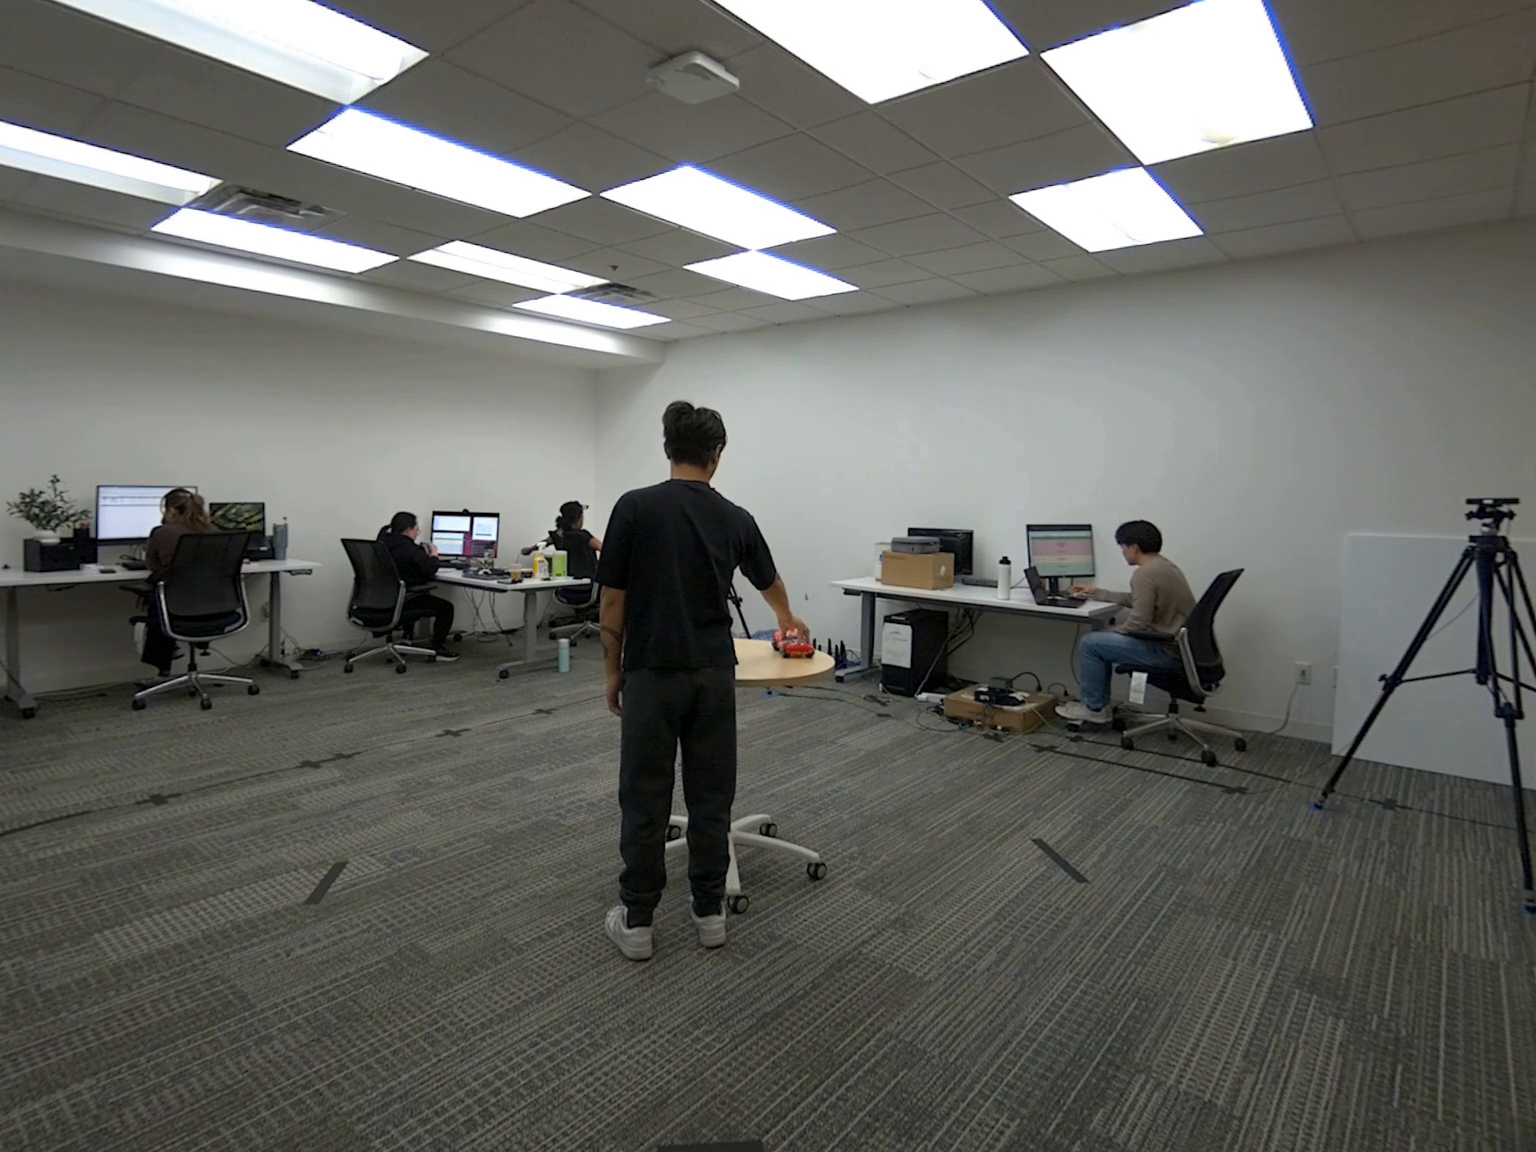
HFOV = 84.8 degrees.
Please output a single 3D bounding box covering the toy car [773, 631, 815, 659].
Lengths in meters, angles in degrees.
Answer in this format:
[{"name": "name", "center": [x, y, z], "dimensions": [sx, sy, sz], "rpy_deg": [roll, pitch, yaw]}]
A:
[{"name": "toy car", "center": [0.076, 0.253, 3.190], "dimensions": [0.129, 0.082, 0.260], "rpy_deg": [0, 17, -10]}]
